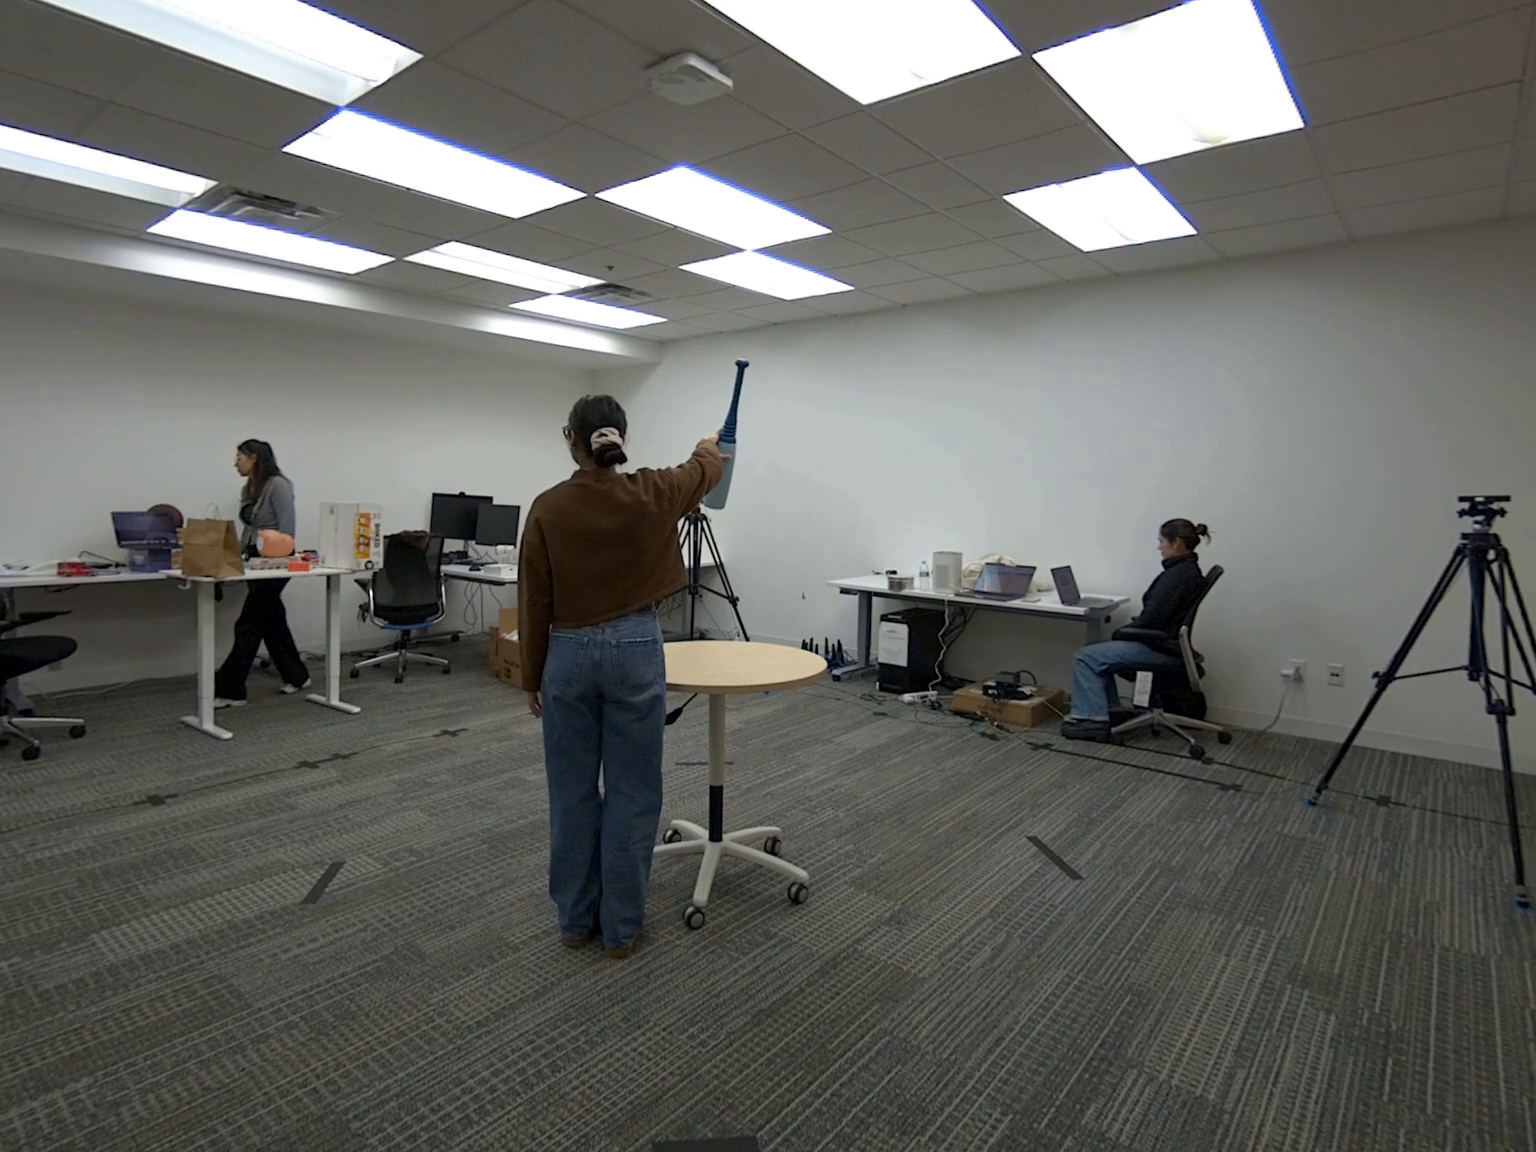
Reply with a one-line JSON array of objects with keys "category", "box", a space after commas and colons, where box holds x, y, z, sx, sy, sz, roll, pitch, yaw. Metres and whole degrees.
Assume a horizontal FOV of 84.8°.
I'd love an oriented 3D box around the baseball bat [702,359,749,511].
[{"category": "baseball bat", "box": [-0.158, -0.506, 3.031, 0.088, 0.537, 0.090, 12, 16, -5]}]
